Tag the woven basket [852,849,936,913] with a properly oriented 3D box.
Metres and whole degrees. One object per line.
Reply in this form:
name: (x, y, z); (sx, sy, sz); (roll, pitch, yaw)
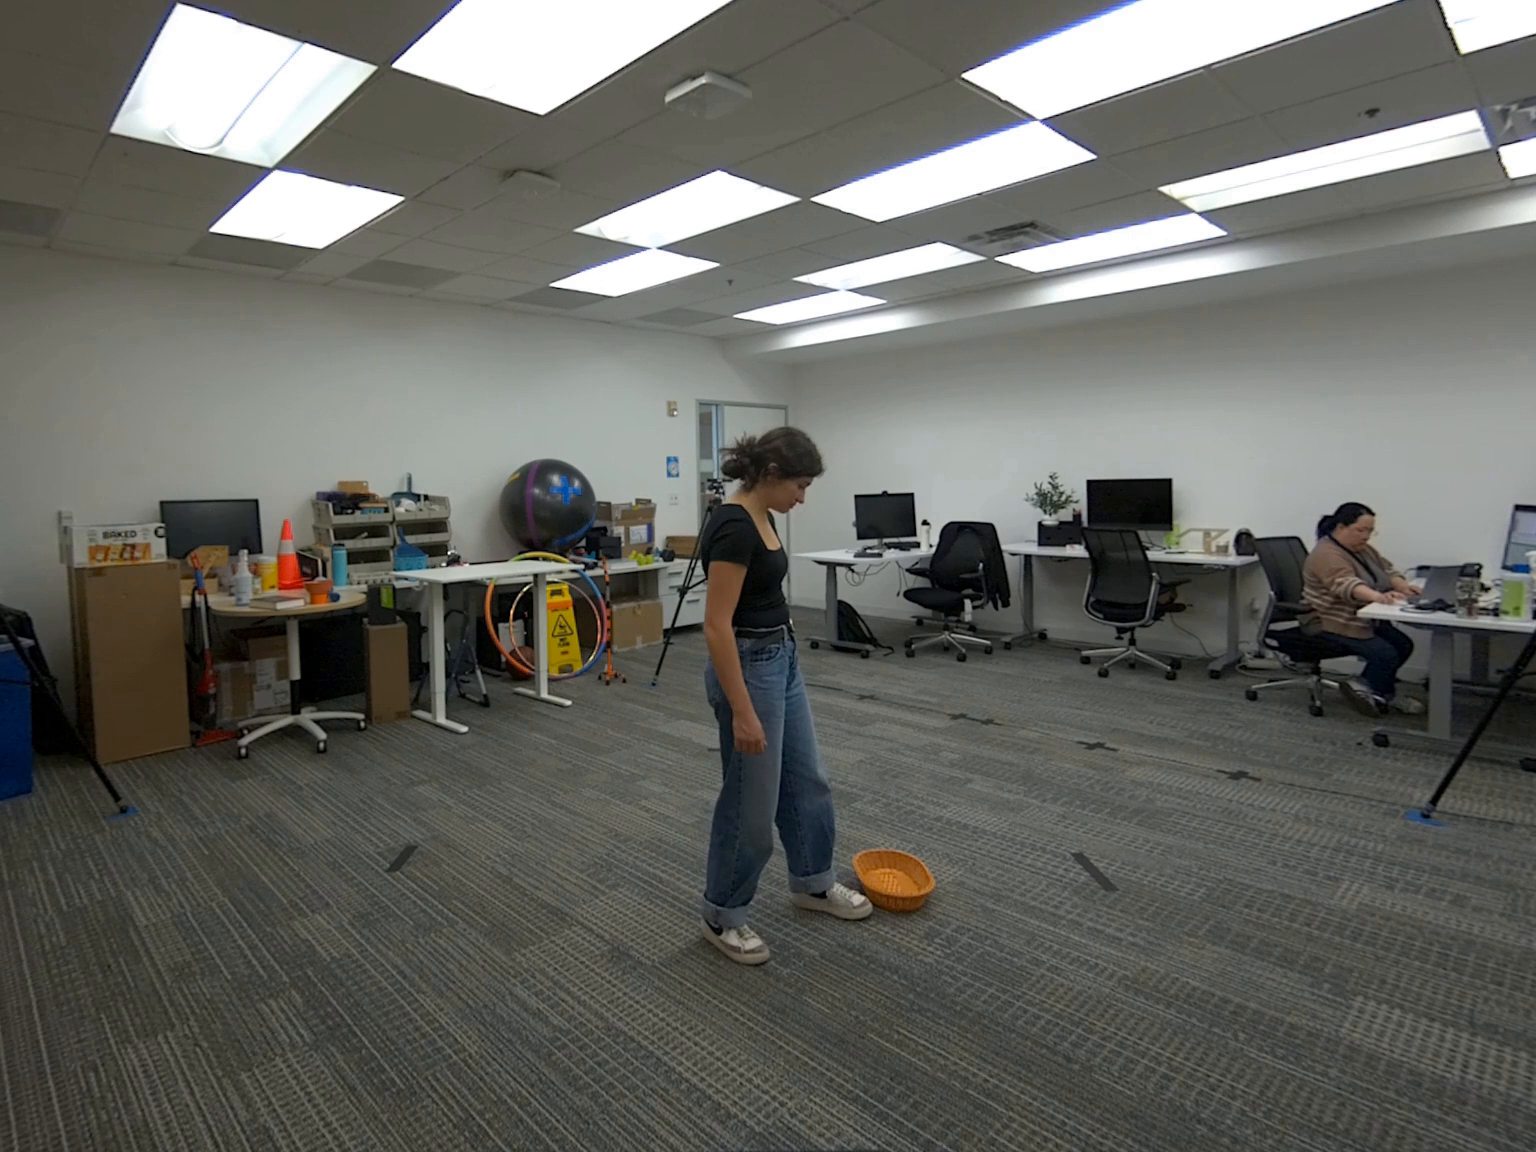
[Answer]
woven basket: (0.423, 1.024, 2.880); (0.252, 0.073, 0.353); (-1, 6, -3)
